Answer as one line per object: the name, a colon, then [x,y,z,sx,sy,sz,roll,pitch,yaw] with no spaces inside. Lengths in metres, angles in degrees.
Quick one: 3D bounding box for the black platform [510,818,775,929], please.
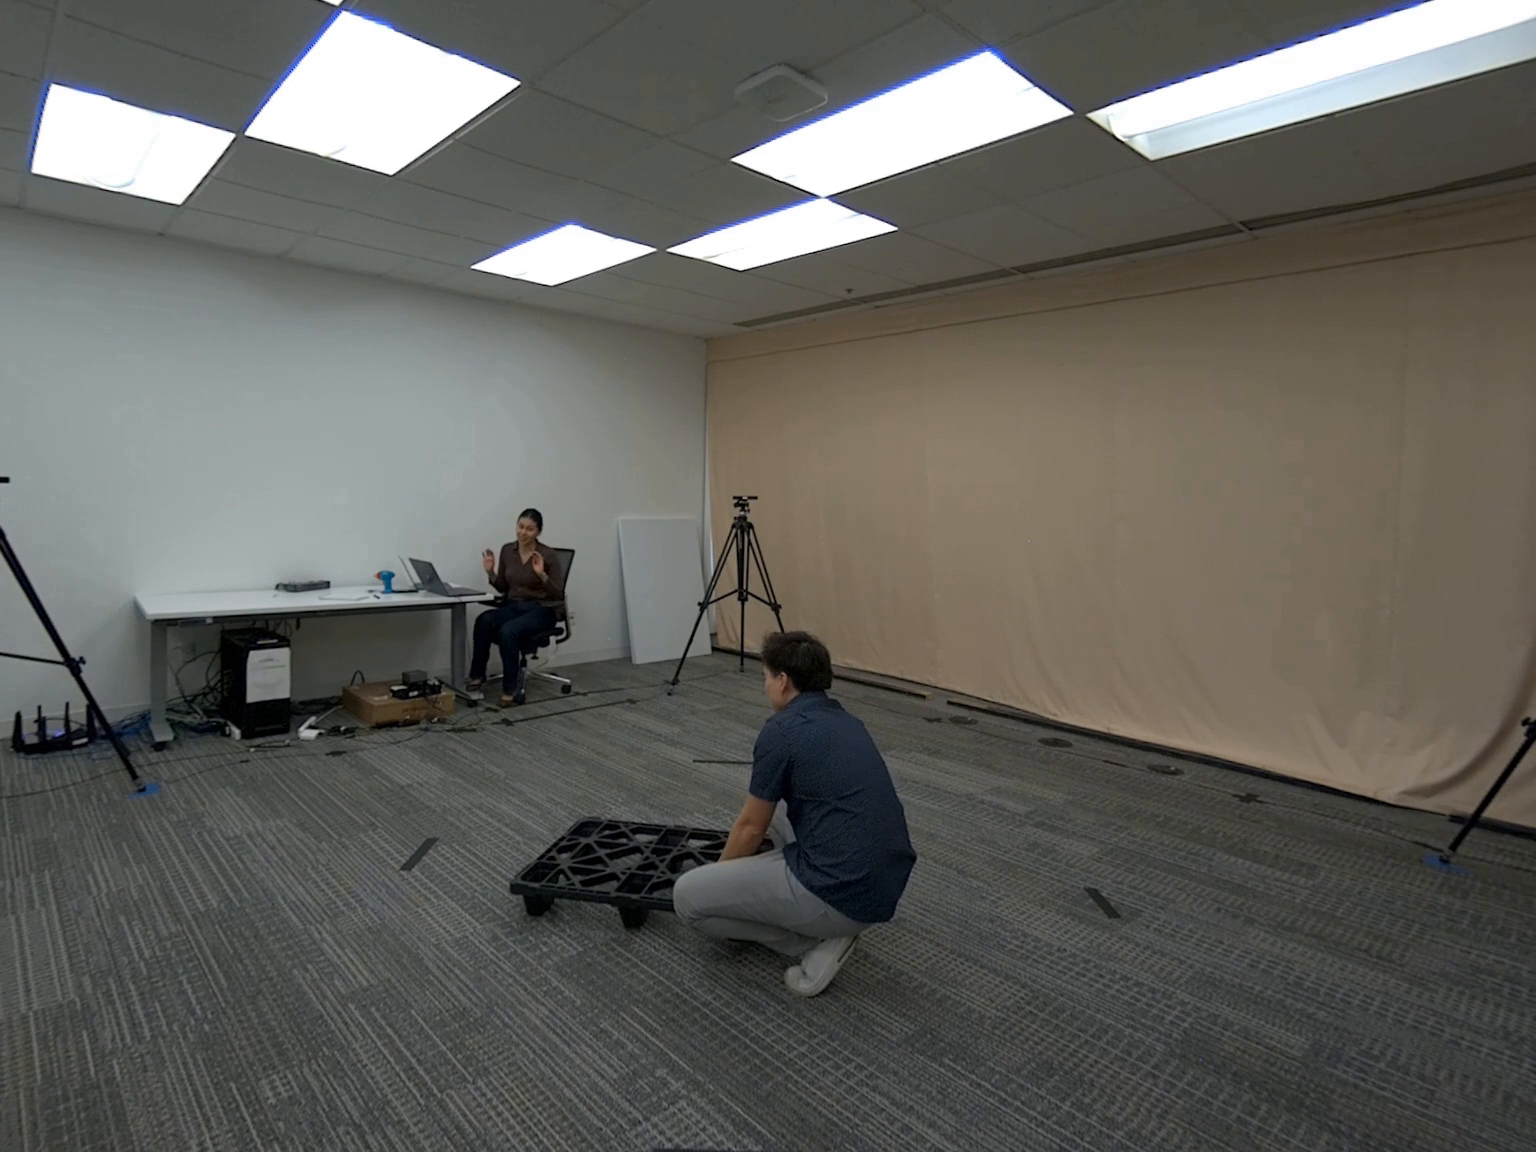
black platform: [-0.396,1.042,2.905,0.814,0.143,0.600,1,6,13]
